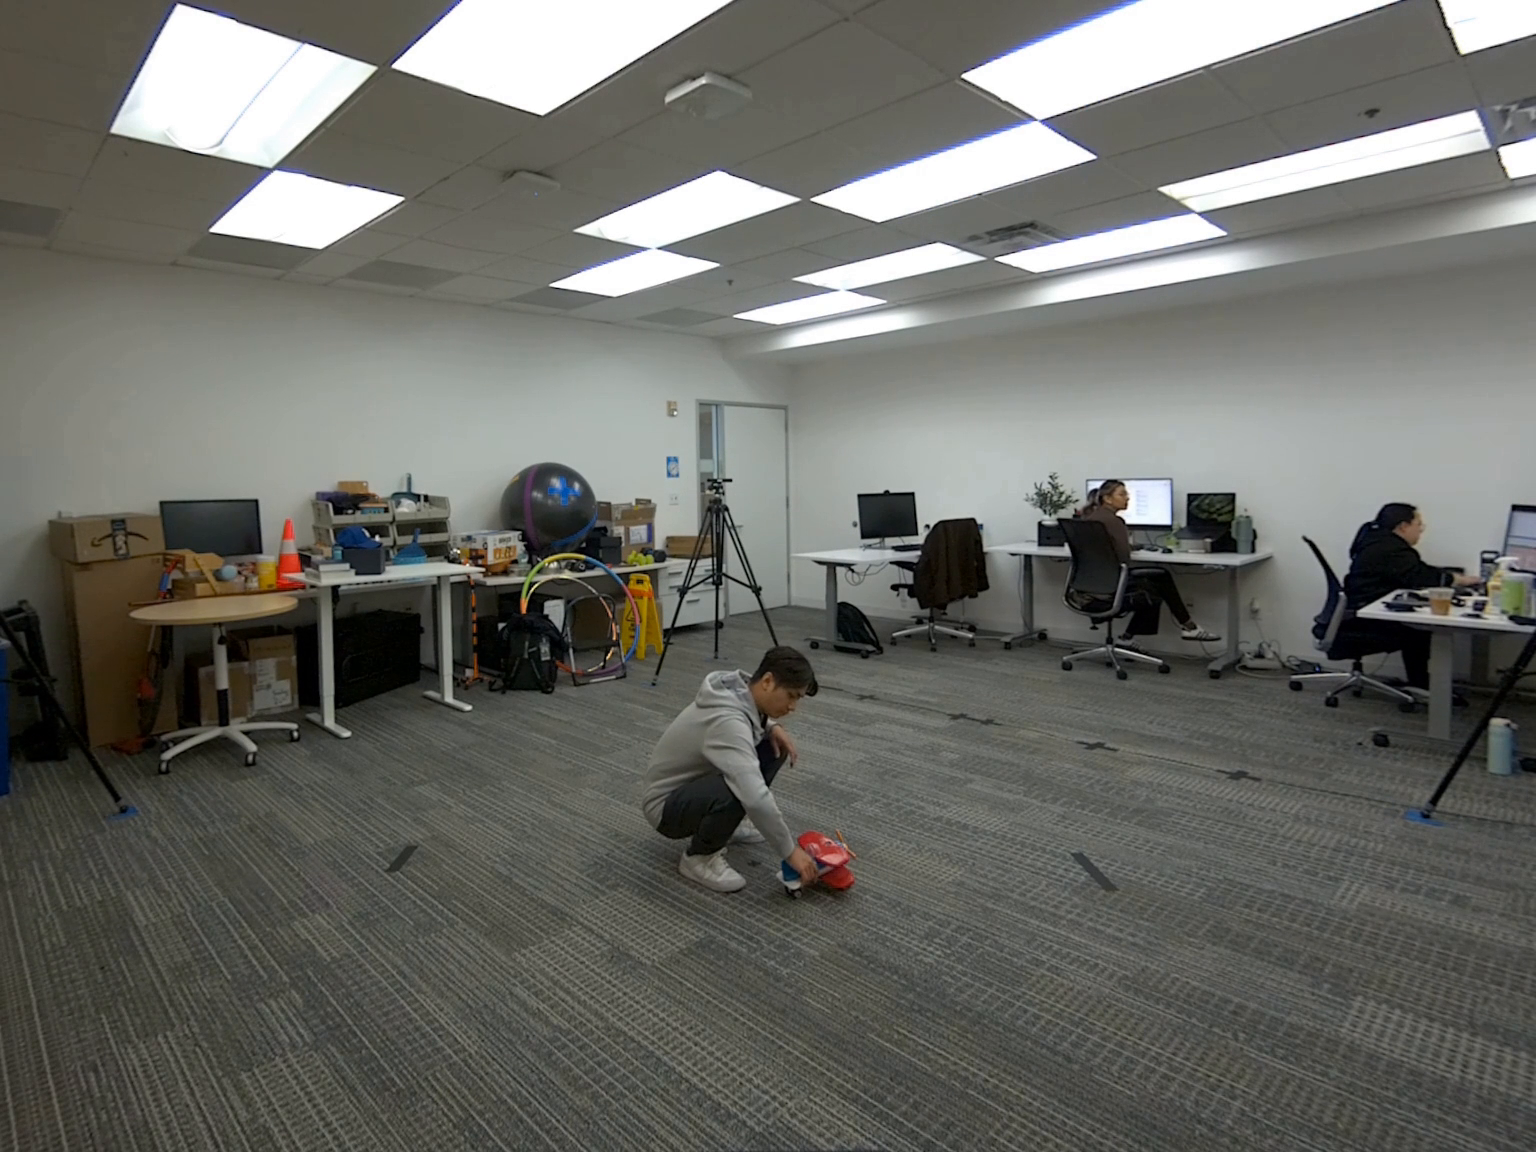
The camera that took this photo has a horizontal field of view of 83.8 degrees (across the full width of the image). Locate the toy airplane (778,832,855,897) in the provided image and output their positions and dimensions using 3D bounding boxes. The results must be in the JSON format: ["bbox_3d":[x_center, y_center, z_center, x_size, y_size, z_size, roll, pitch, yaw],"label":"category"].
[{"bbox_3d":[0.173,0.984,2.887,0.259,0.156,0.252,4,7,38],"label":"toy airplane"}]
